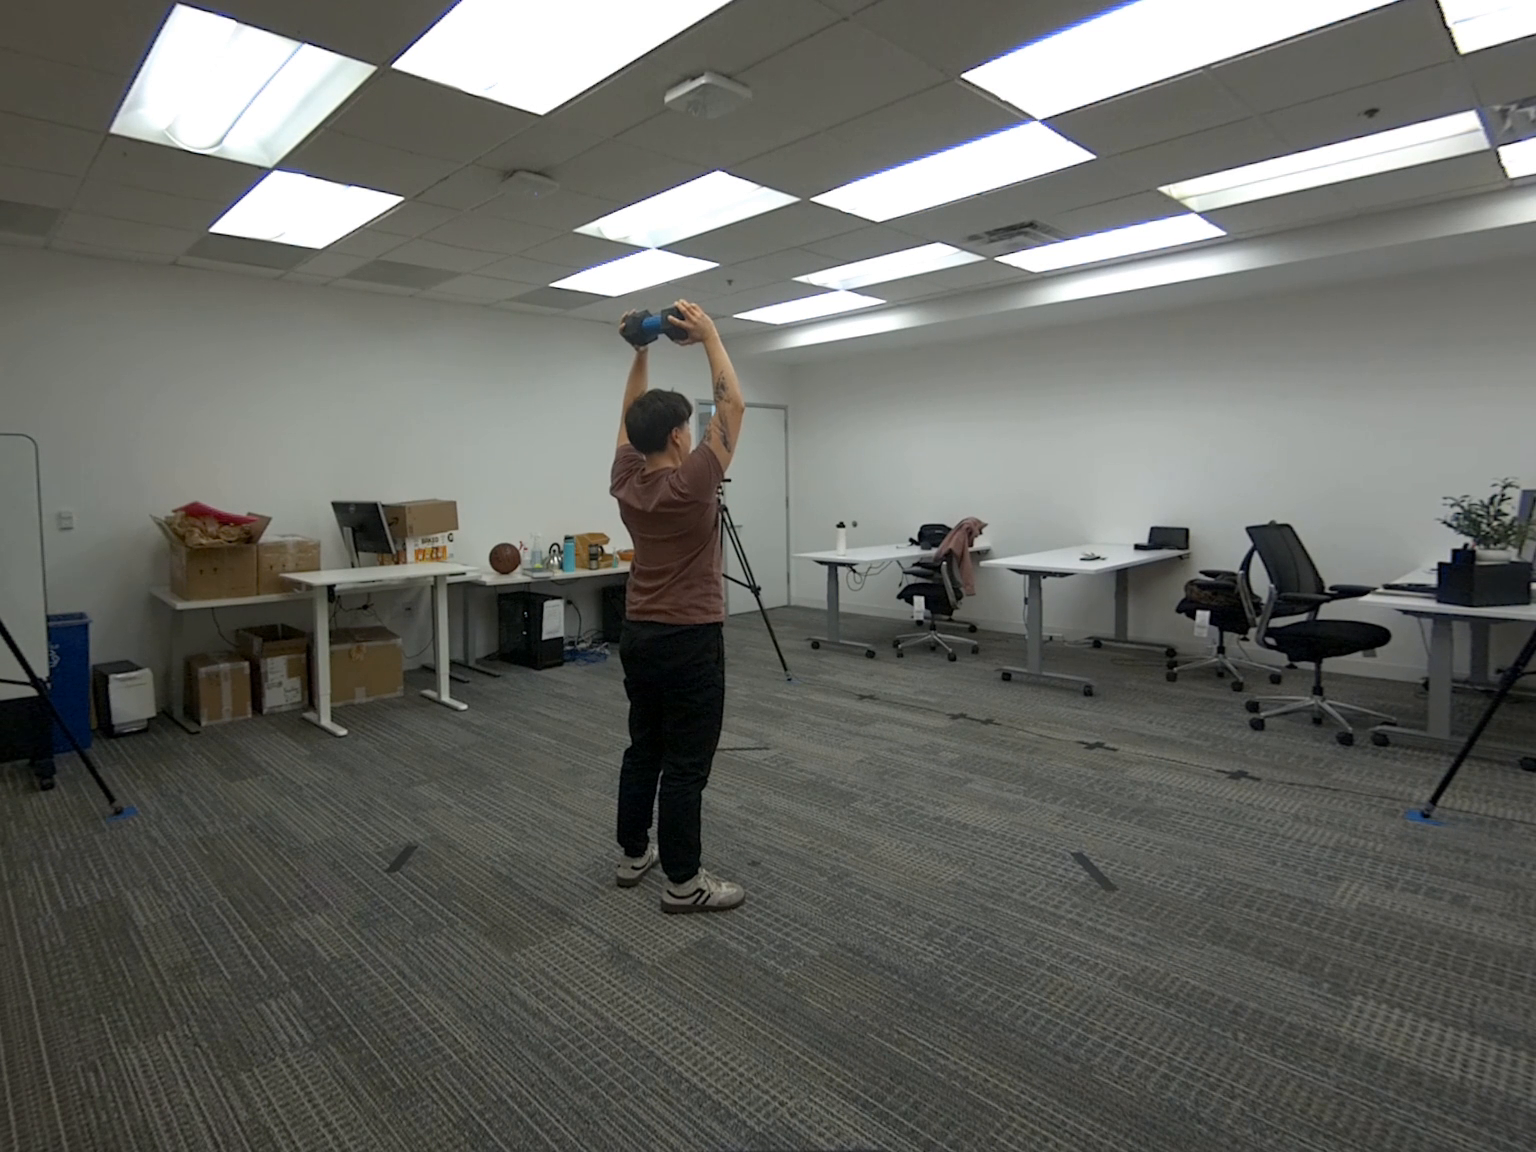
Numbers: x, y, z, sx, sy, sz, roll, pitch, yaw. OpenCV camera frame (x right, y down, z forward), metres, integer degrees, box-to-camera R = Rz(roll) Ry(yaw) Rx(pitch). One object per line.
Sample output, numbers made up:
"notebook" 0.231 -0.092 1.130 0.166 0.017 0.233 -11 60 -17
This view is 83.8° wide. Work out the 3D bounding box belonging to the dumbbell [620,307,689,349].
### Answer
"dumbbell" -0.354 -0.827 2.817 0.303 0.109 0.118 10 -23 47
